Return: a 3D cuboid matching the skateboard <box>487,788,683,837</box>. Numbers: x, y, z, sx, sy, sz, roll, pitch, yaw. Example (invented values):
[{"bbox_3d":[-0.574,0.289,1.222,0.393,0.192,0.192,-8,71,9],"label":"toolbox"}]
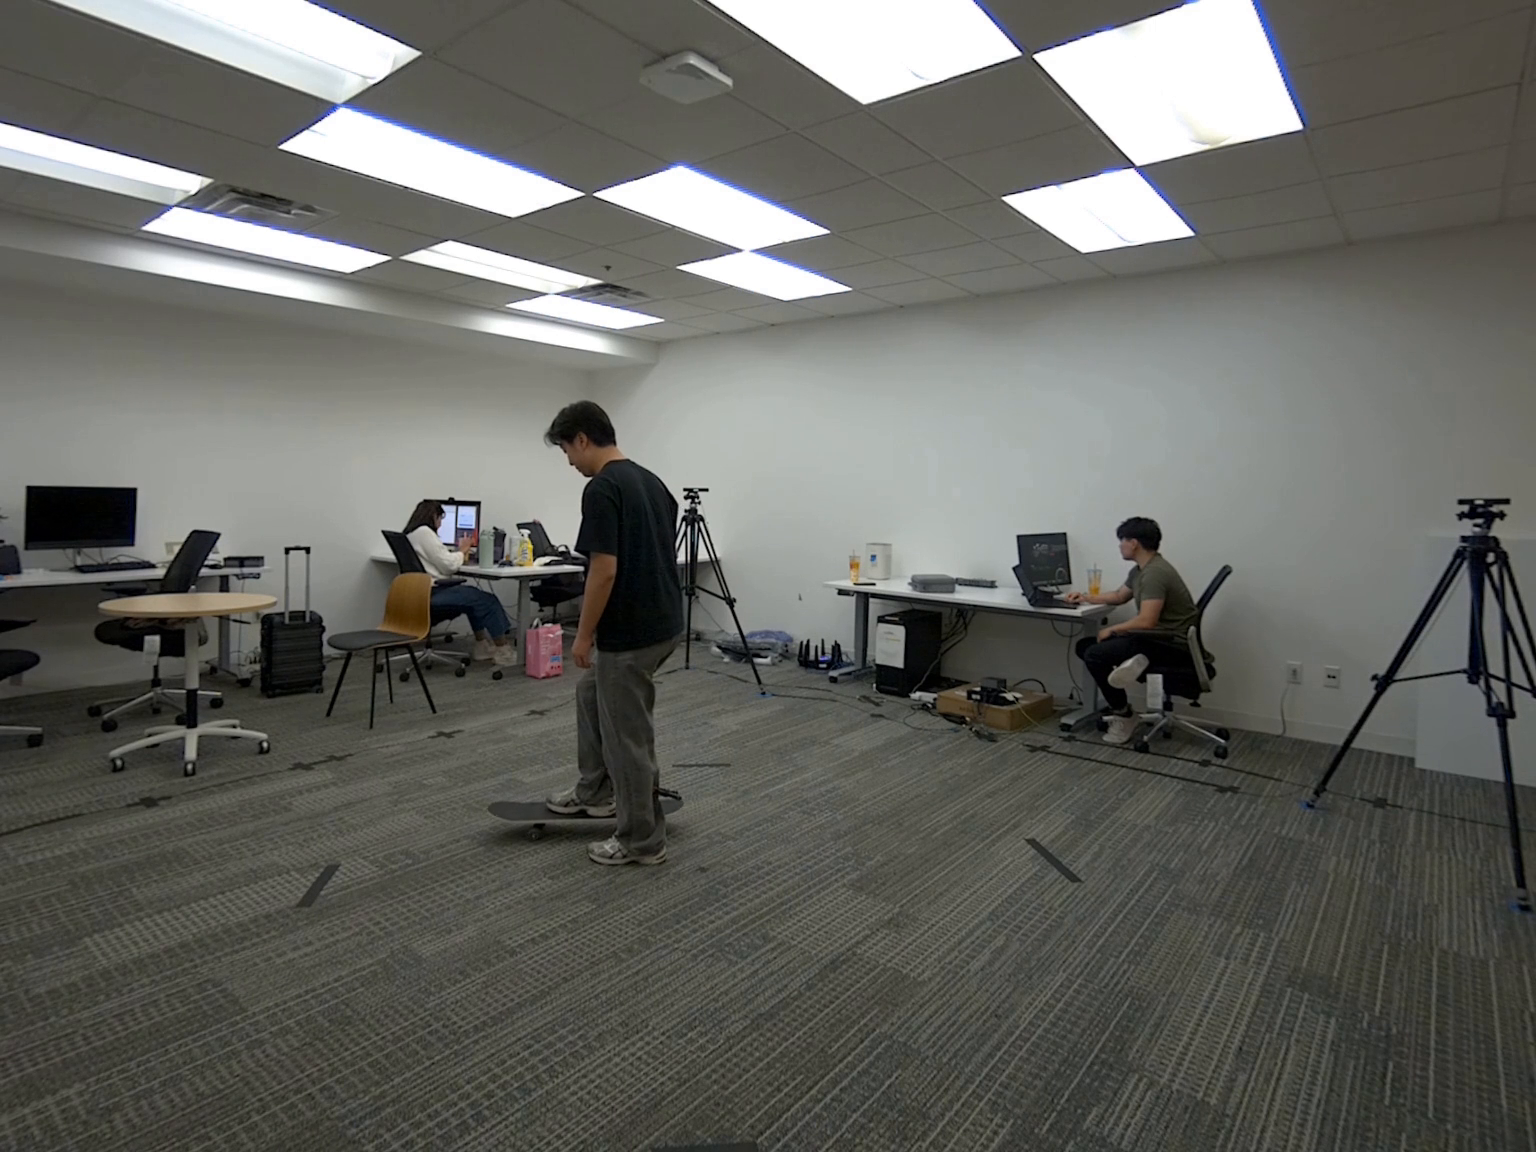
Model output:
[{"bbox_3d":[-0.749,0.973,3.430,0.780,0.110,0.195,1,6,-6],"label":"skateboard"}]
